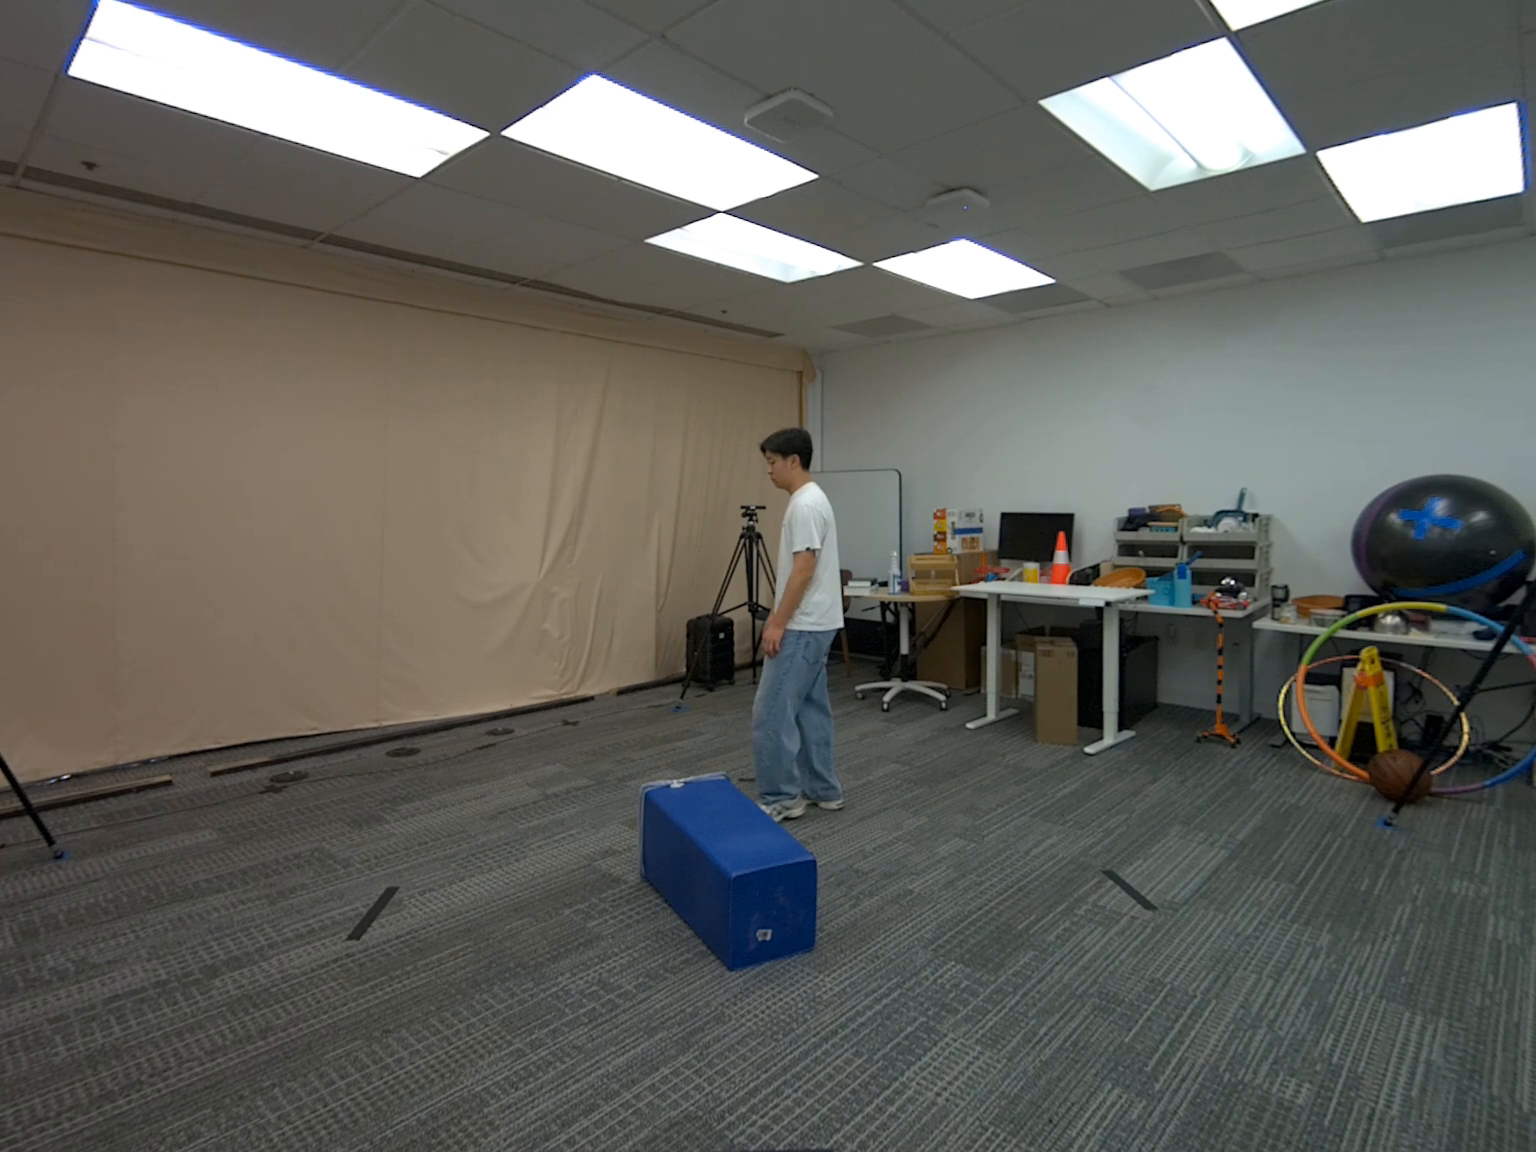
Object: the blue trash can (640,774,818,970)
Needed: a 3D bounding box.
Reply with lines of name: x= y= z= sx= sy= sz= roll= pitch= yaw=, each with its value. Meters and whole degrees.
blue trash can: x=-0.148 y=0.989 z=2.879 sx=0.365 sy=0.376 sz=0.734 roll=-2 pitch=8 yaw=-28
